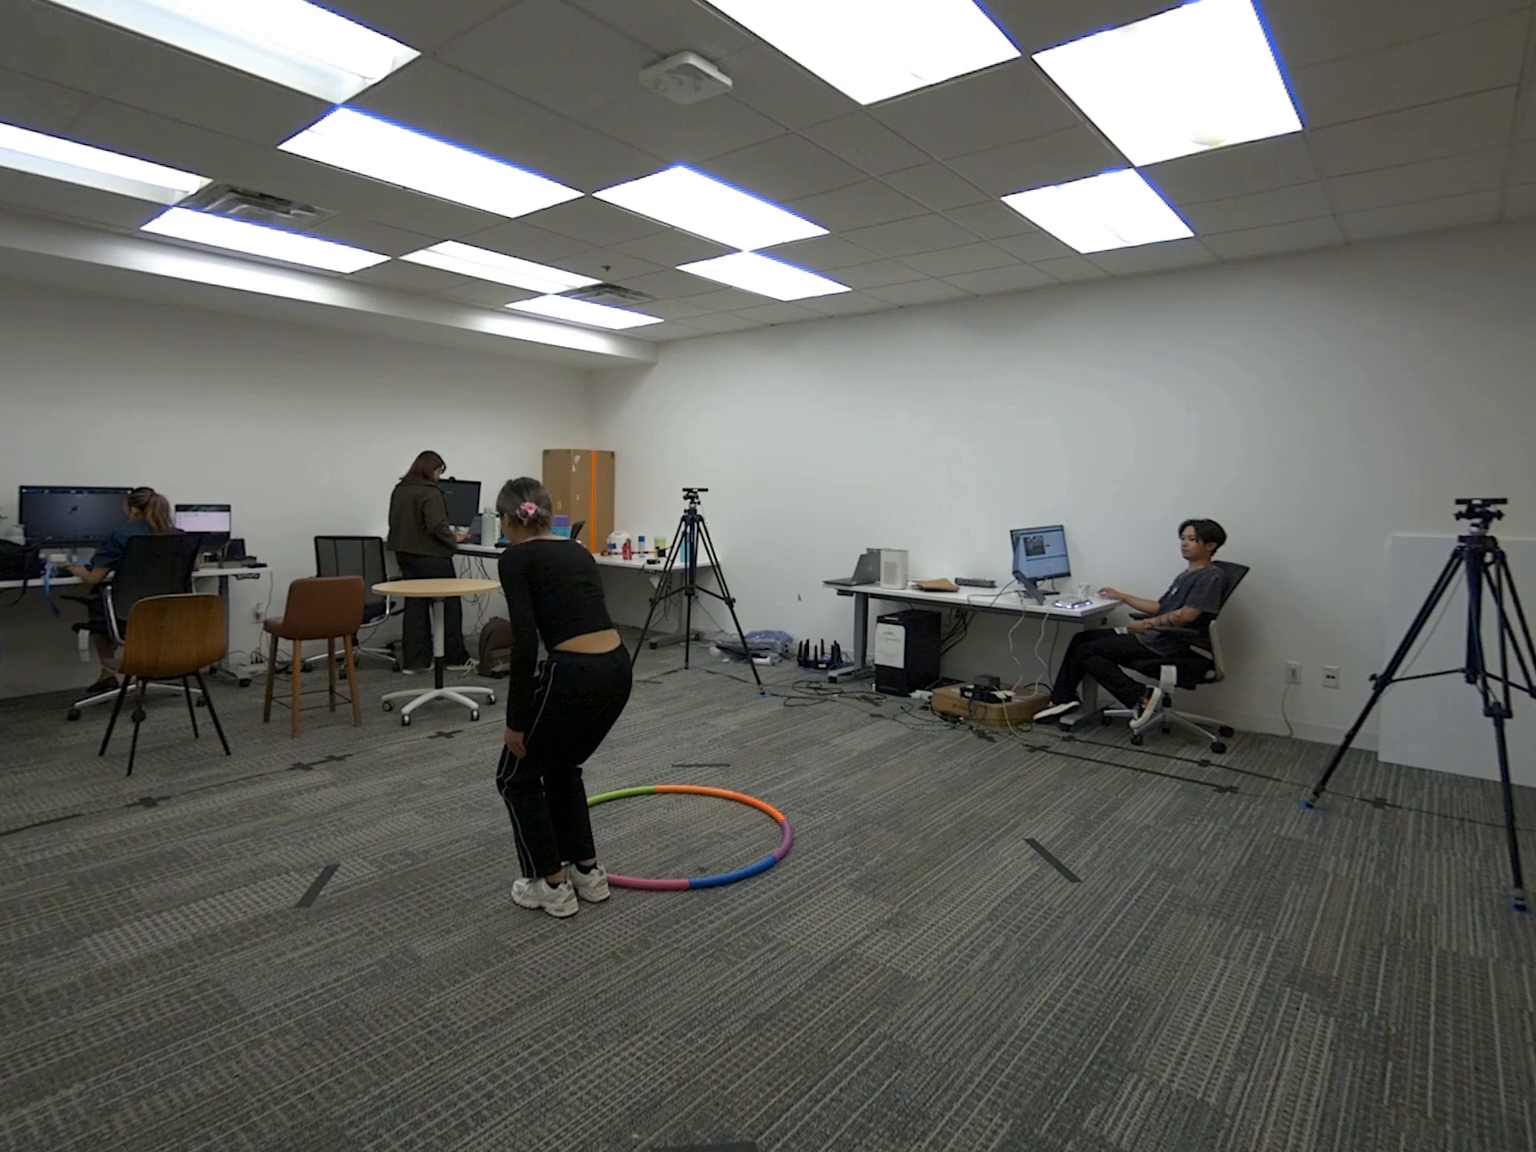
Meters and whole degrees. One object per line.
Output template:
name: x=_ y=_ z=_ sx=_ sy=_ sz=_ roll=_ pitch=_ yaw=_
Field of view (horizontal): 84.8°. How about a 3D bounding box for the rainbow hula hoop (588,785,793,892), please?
rainbow hula hoop: x=-0.397 y=1.004 z=3.412 sx=0.978 sy=0.035 sz=0.984 roll=1 pitch=6 yaw=-2
